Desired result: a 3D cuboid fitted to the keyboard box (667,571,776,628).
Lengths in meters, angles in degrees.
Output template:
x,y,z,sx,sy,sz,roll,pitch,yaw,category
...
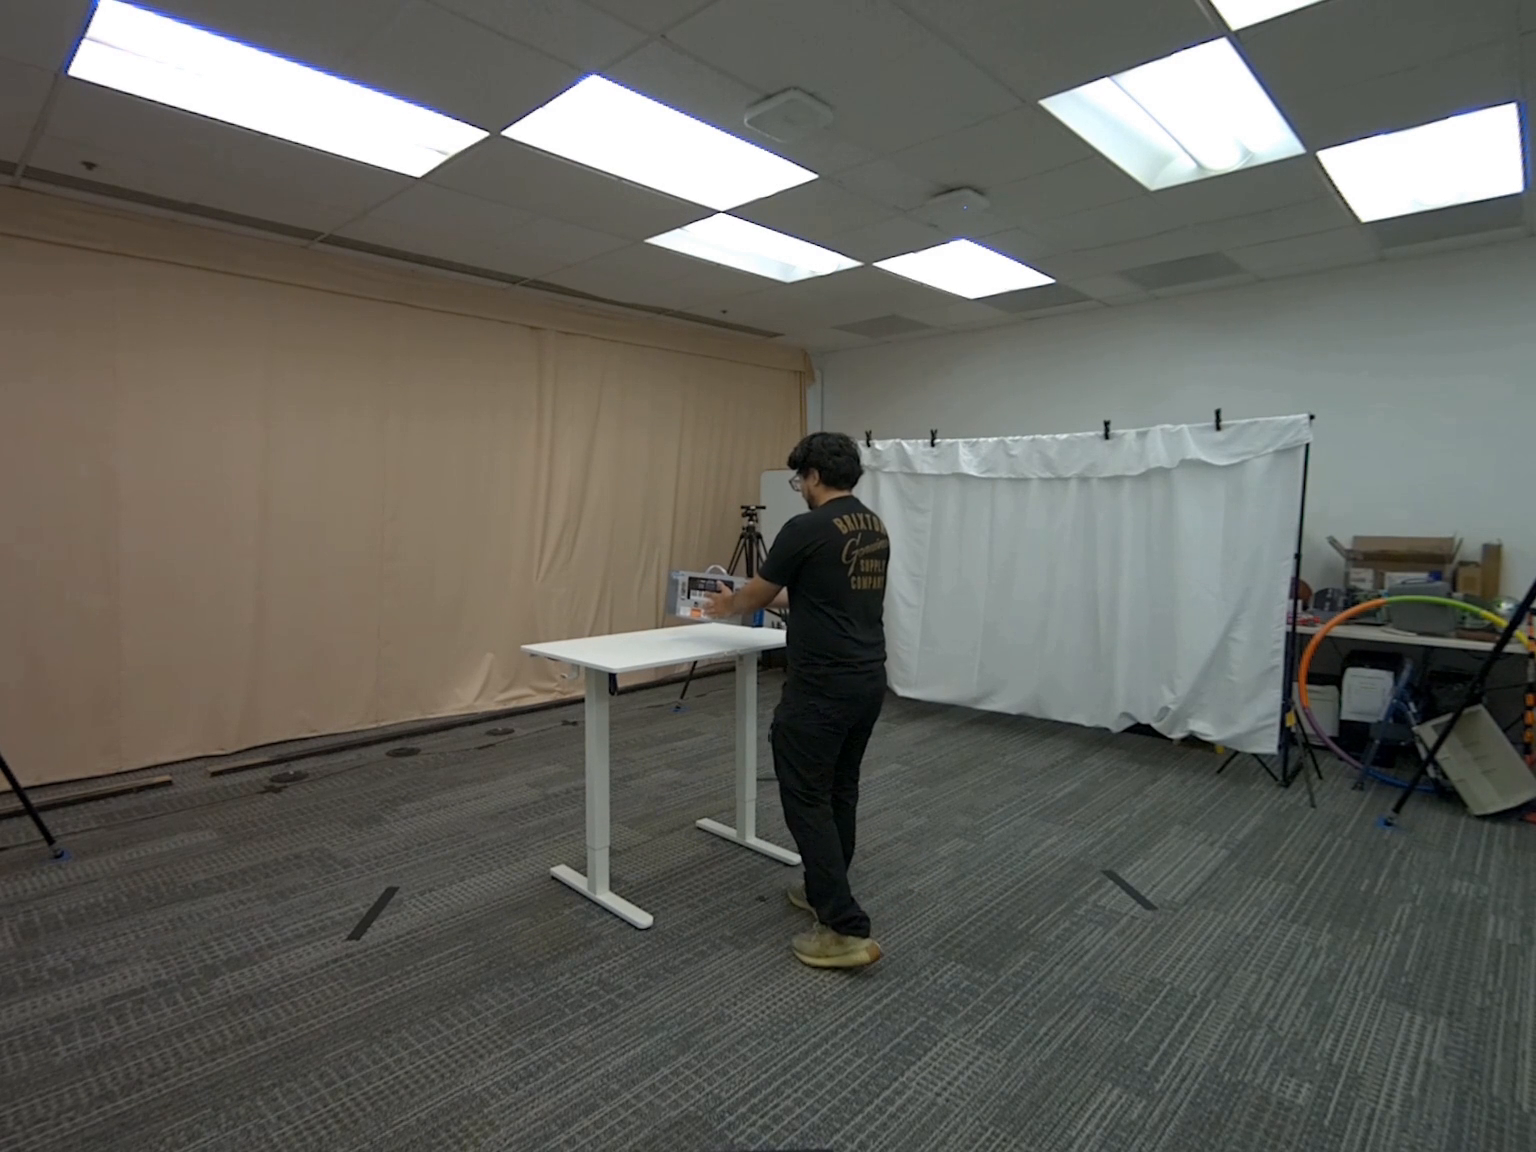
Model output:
x,y,z,sx,sy,sz,roll,pitch,yaw,category
-0.199,0.084,3.107,0.451,0.176,0.057,6,1,40,keyboard box
